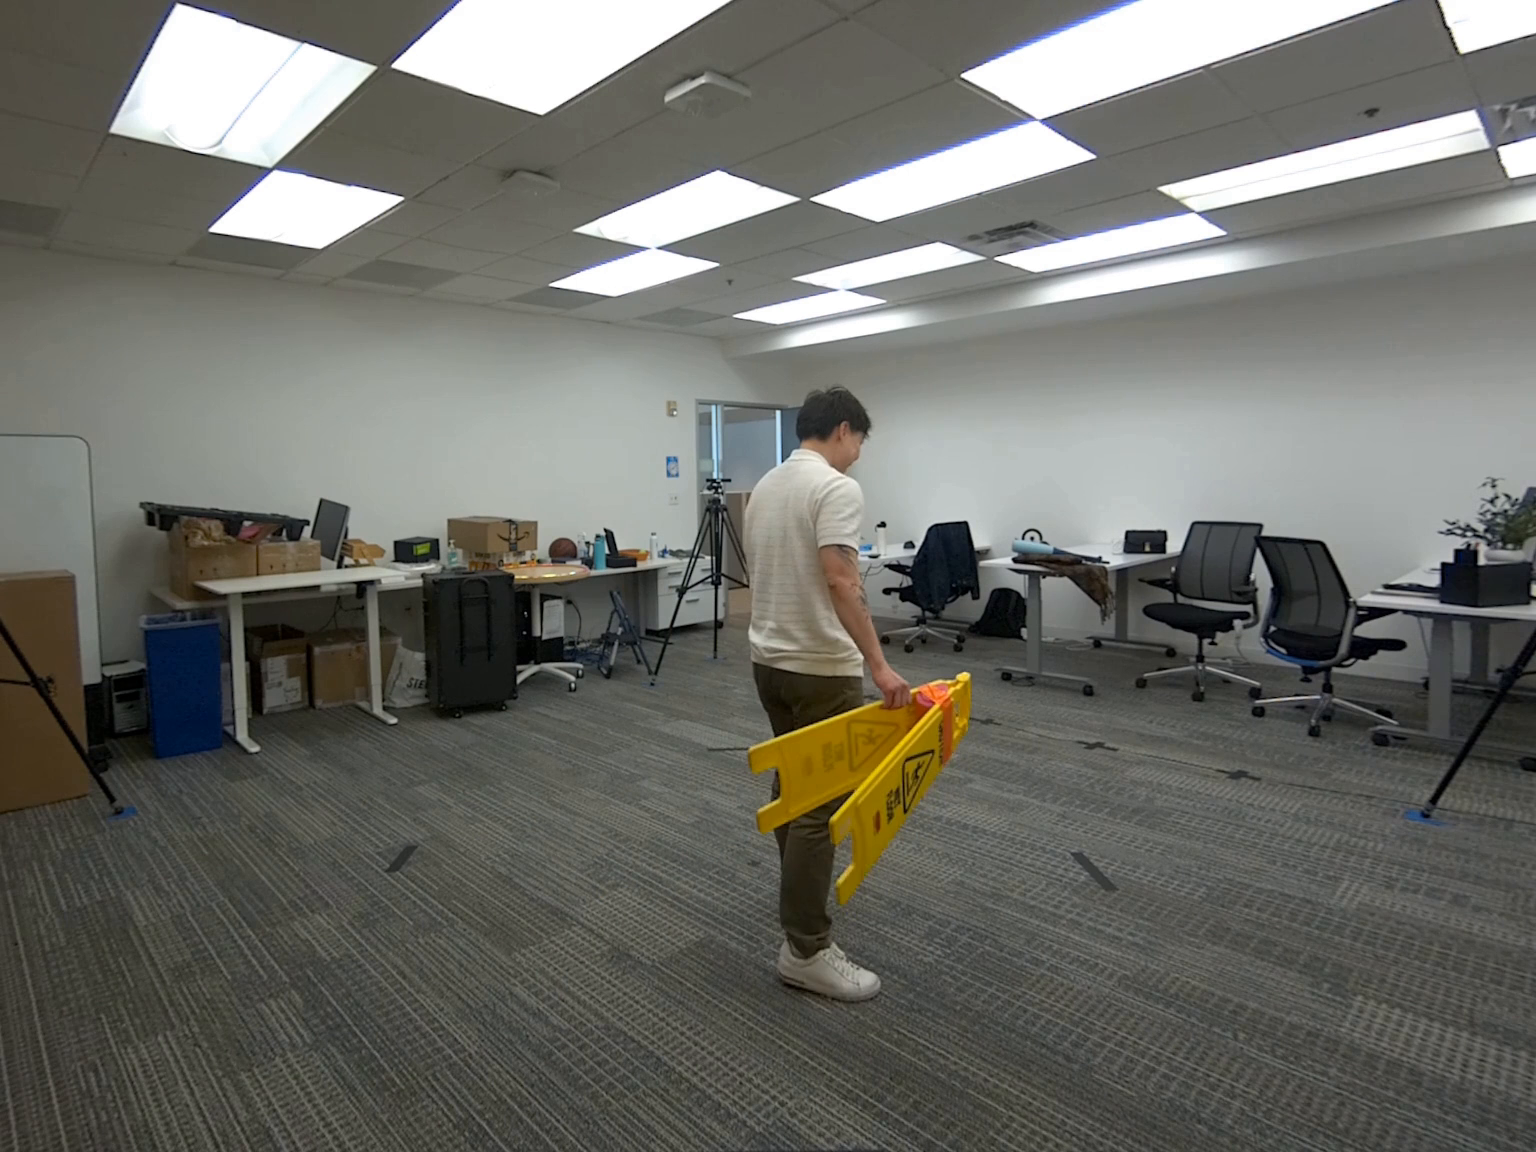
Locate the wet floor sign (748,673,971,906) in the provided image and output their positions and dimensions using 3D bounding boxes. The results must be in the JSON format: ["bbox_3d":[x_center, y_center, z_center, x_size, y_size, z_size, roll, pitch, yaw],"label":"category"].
[{"bbox_3d":[0.306,0.469,2.182,0.638,0.275,0.301,-27,37,-29],"label":"wet floor sign"}]
